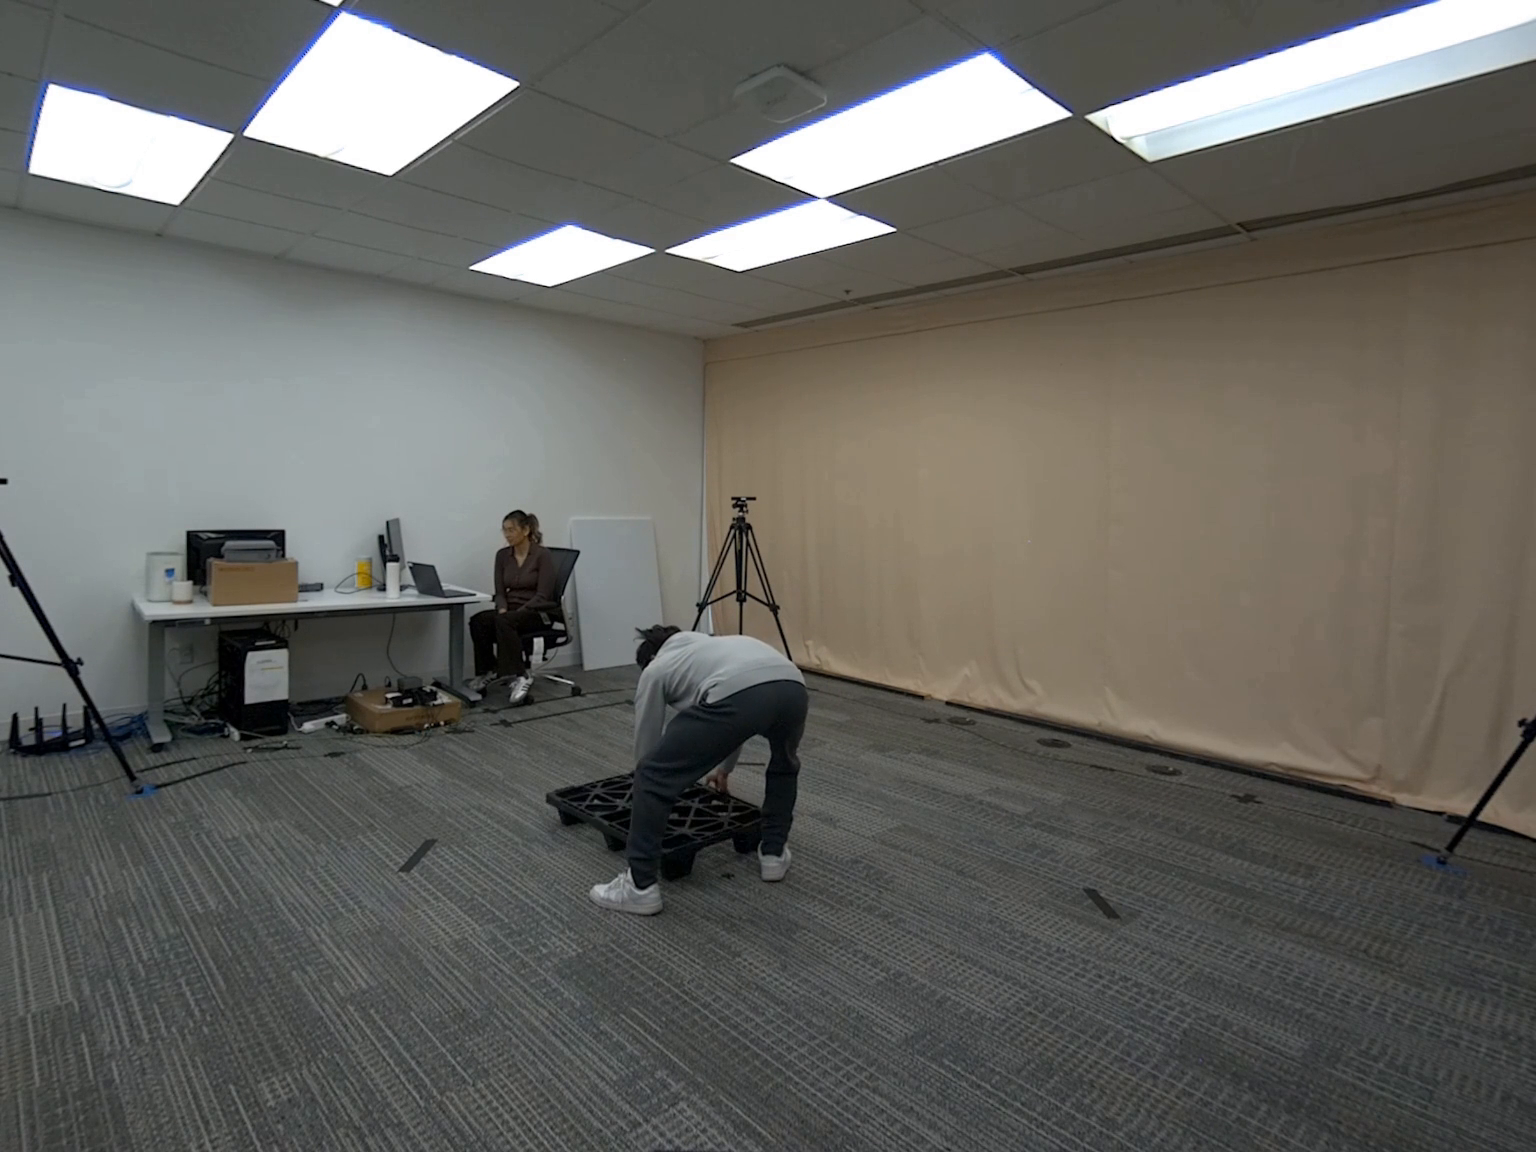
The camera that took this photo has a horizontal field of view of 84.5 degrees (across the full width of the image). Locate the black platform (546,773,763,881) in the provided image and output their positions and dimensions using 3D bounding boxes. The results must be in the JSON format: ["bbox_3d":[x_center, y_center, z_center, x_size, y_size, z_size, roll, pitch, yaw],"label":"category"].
[{"bbox_3d":[-0.456,1.001,3.460,0.591,0.143,0.826,-4,7,-44],"label":"black platform"}]
